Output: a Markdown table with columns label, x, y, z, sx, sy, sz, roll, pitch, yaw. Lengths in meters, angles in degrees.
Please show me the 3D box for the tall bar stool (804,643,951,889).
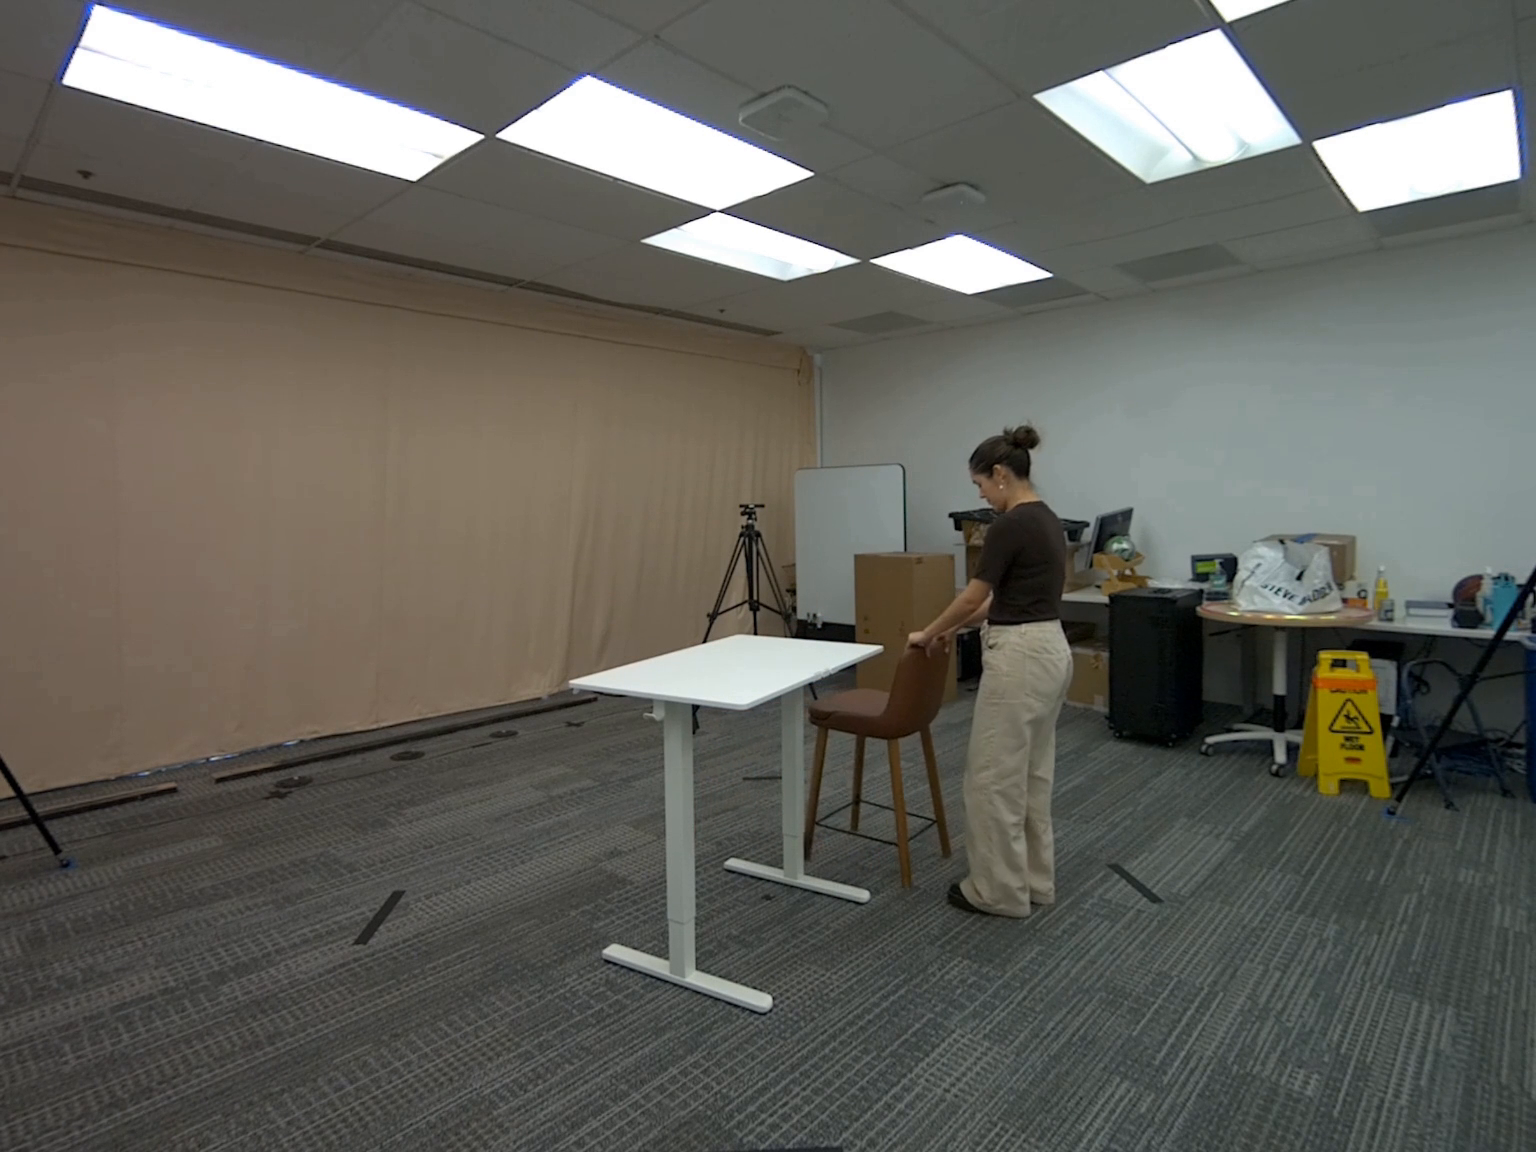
| label | x | y | z | sx | sy | sz | roll | pitch | yaw |
| --- | --- | --- | --- | --- | --- | --- | --- | --- | --- |
| tall bar stool | 0.441 | 0.667 | 3.284 | 0.483 | 0.887 | 0.443 | 5 | 5 | 37 |
